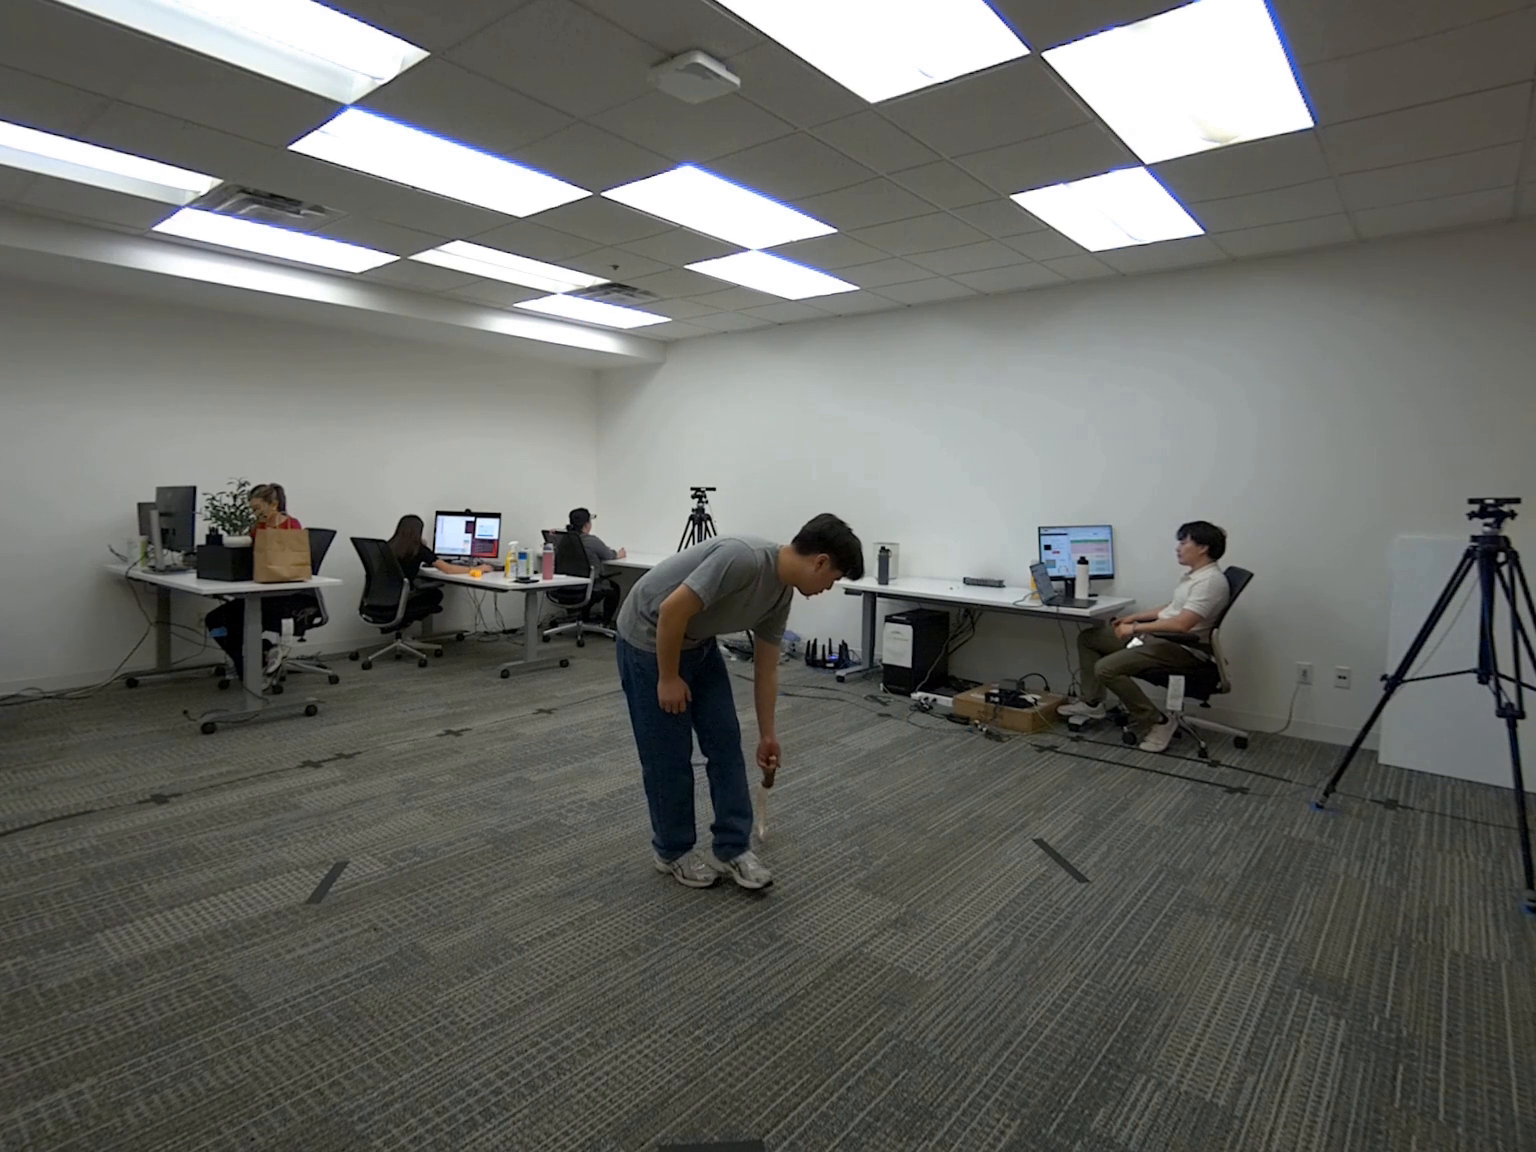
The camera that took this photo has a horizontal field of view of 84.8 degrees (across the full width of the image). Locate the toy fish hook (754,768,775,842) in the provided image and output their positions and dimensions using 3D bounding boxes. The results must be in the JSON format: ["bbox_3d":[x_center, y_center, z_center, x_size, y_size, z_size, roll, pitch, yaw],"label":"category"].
[{"bbox_3d":[-0.013,0.851,3.238,0.048,0.232,0.494,-2,-38,-8],"label":"toy fish hook"}]
